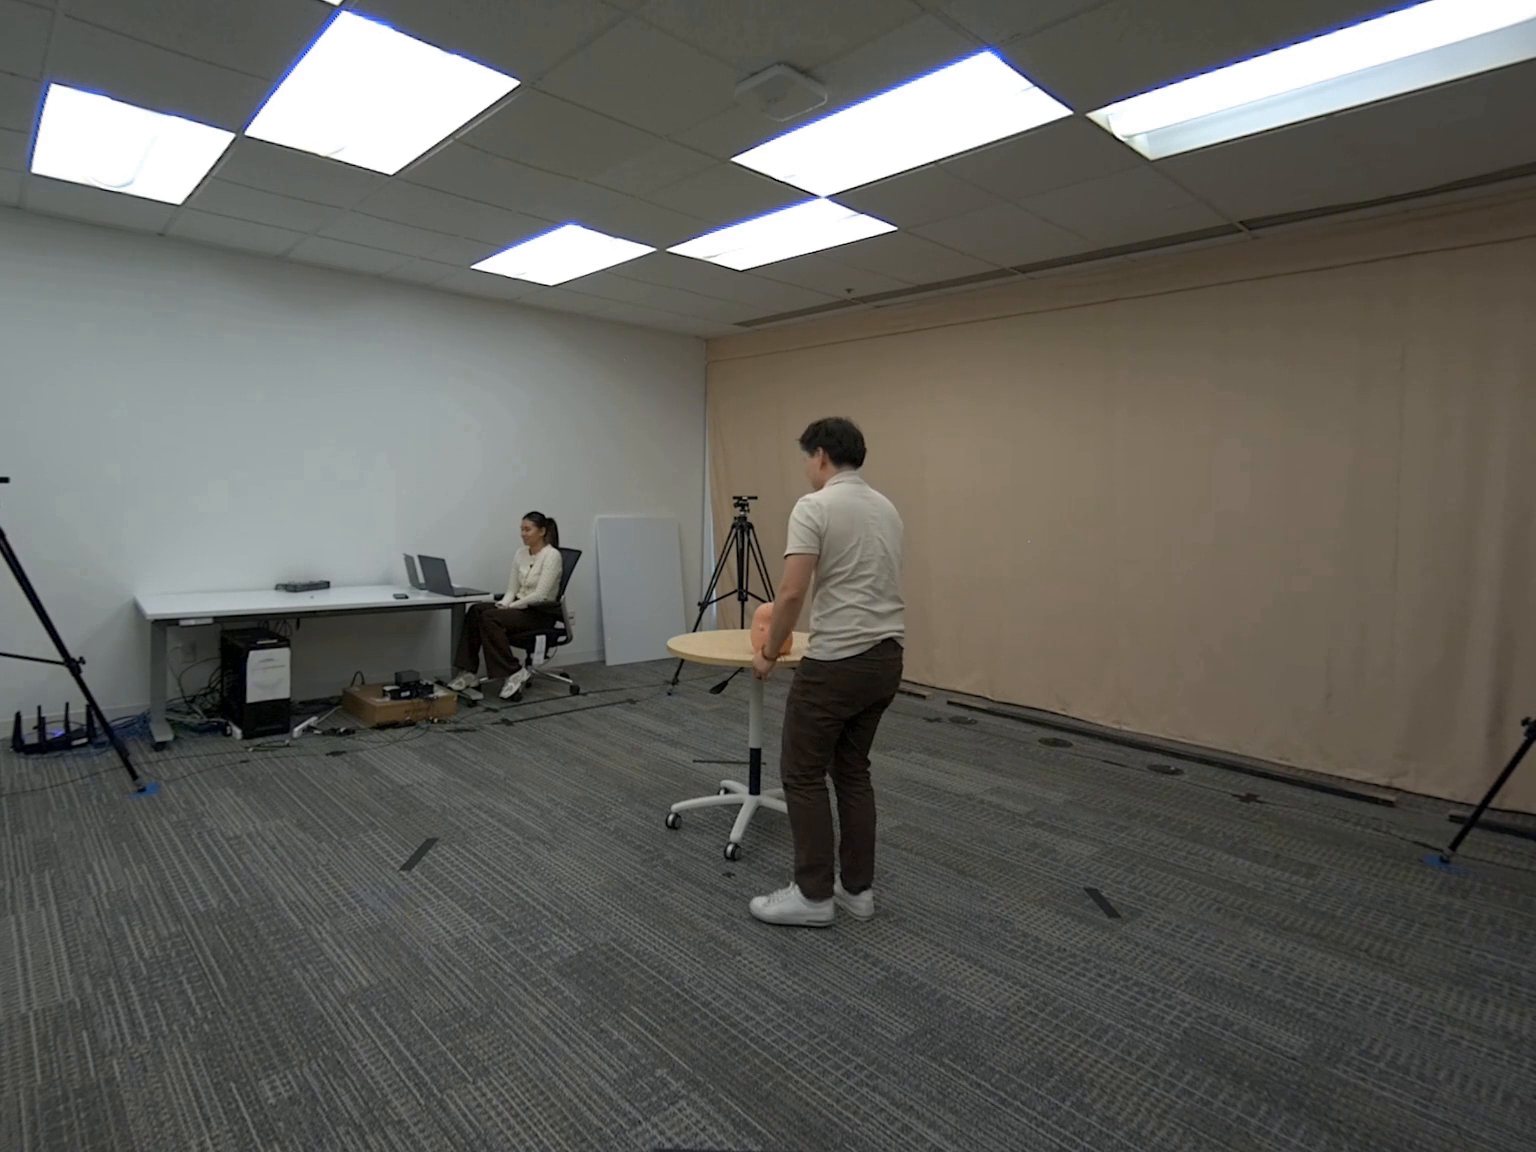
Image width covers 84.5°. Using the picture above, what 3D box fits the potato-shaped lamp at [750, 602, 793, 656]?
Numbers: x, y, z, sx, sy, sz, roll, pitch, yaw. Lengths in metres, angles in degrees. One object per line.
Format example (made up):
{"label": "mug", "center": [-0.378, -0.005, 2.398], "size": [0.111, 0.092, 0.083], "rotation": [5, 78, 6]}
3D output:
{"label": "potato-shaped lamp", "center": [0.007, 0.206, 3.331], "size": [0.163, 0.198, 0.173], "rotation": [2, 1, -13]}
